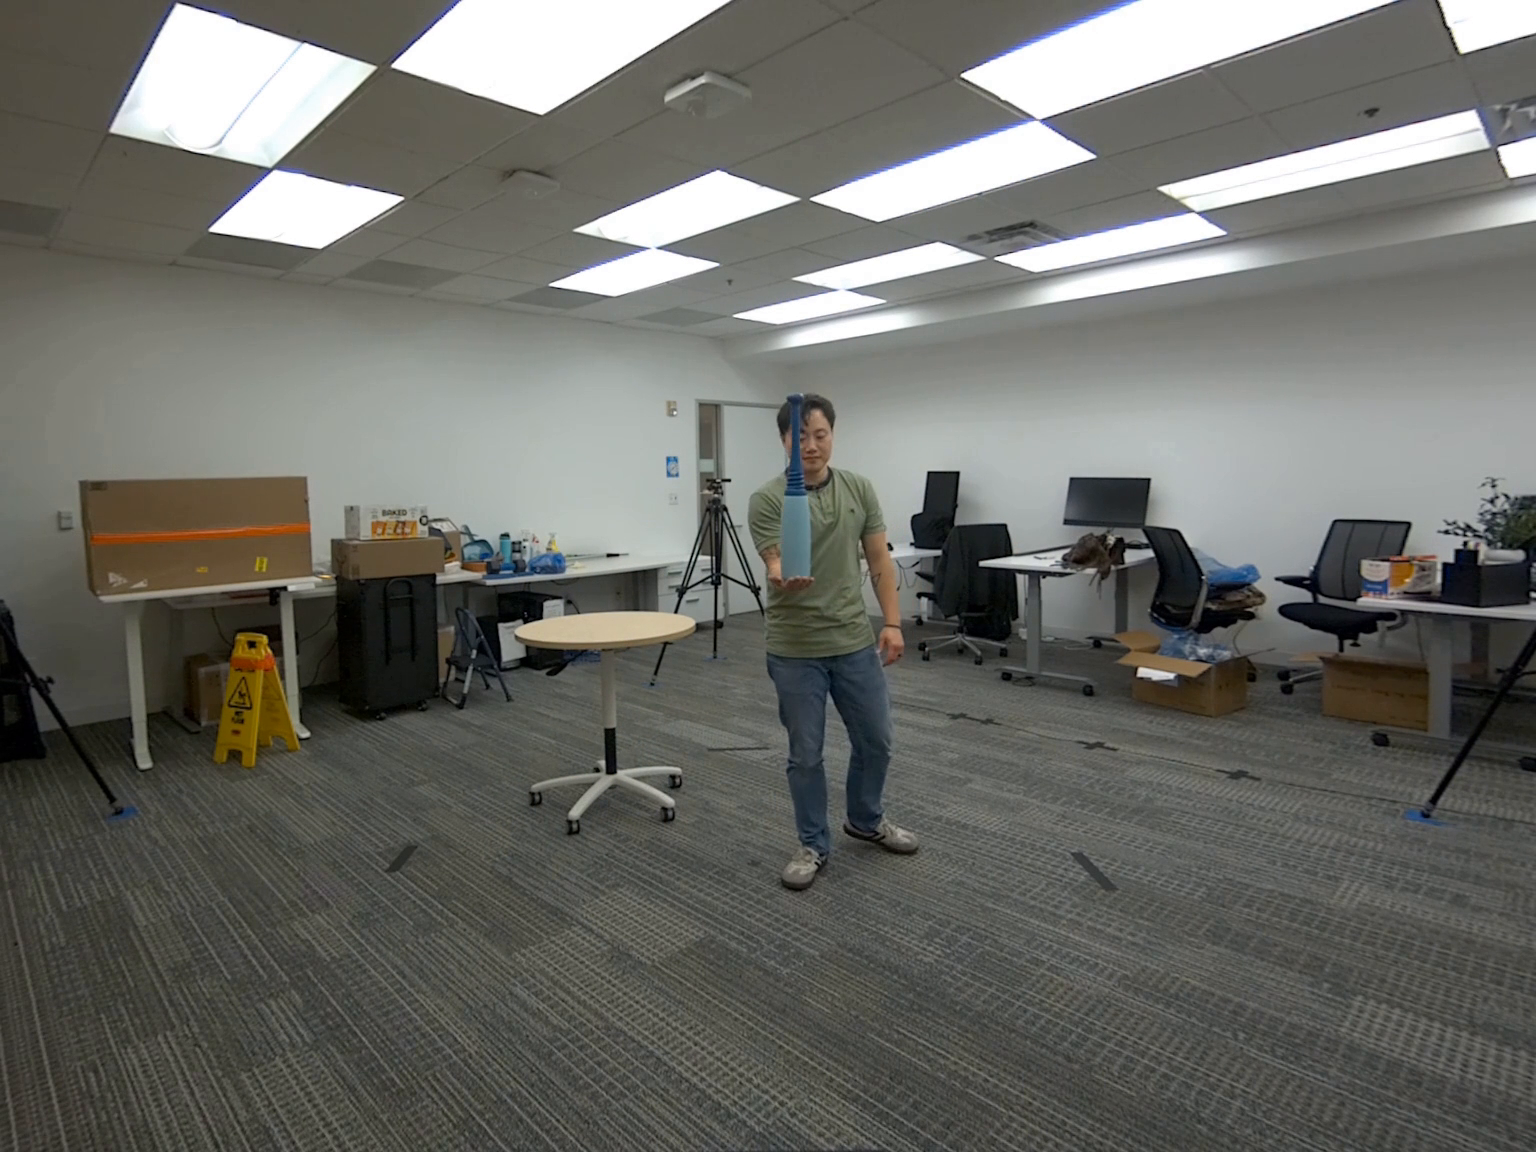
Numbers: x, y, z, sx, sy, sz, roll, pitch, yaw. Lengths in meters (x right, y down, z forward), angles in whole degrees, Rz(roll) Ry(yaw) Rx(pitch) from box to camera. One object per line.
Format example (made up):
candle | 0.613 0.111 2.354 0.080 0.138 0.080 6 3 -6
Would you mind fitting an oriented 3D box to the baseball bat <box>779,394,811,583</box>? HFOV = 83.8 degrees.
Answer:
baseball bat | 0.069 -0.249 2.480 0.089 0.540 0.089 0 6 -2
